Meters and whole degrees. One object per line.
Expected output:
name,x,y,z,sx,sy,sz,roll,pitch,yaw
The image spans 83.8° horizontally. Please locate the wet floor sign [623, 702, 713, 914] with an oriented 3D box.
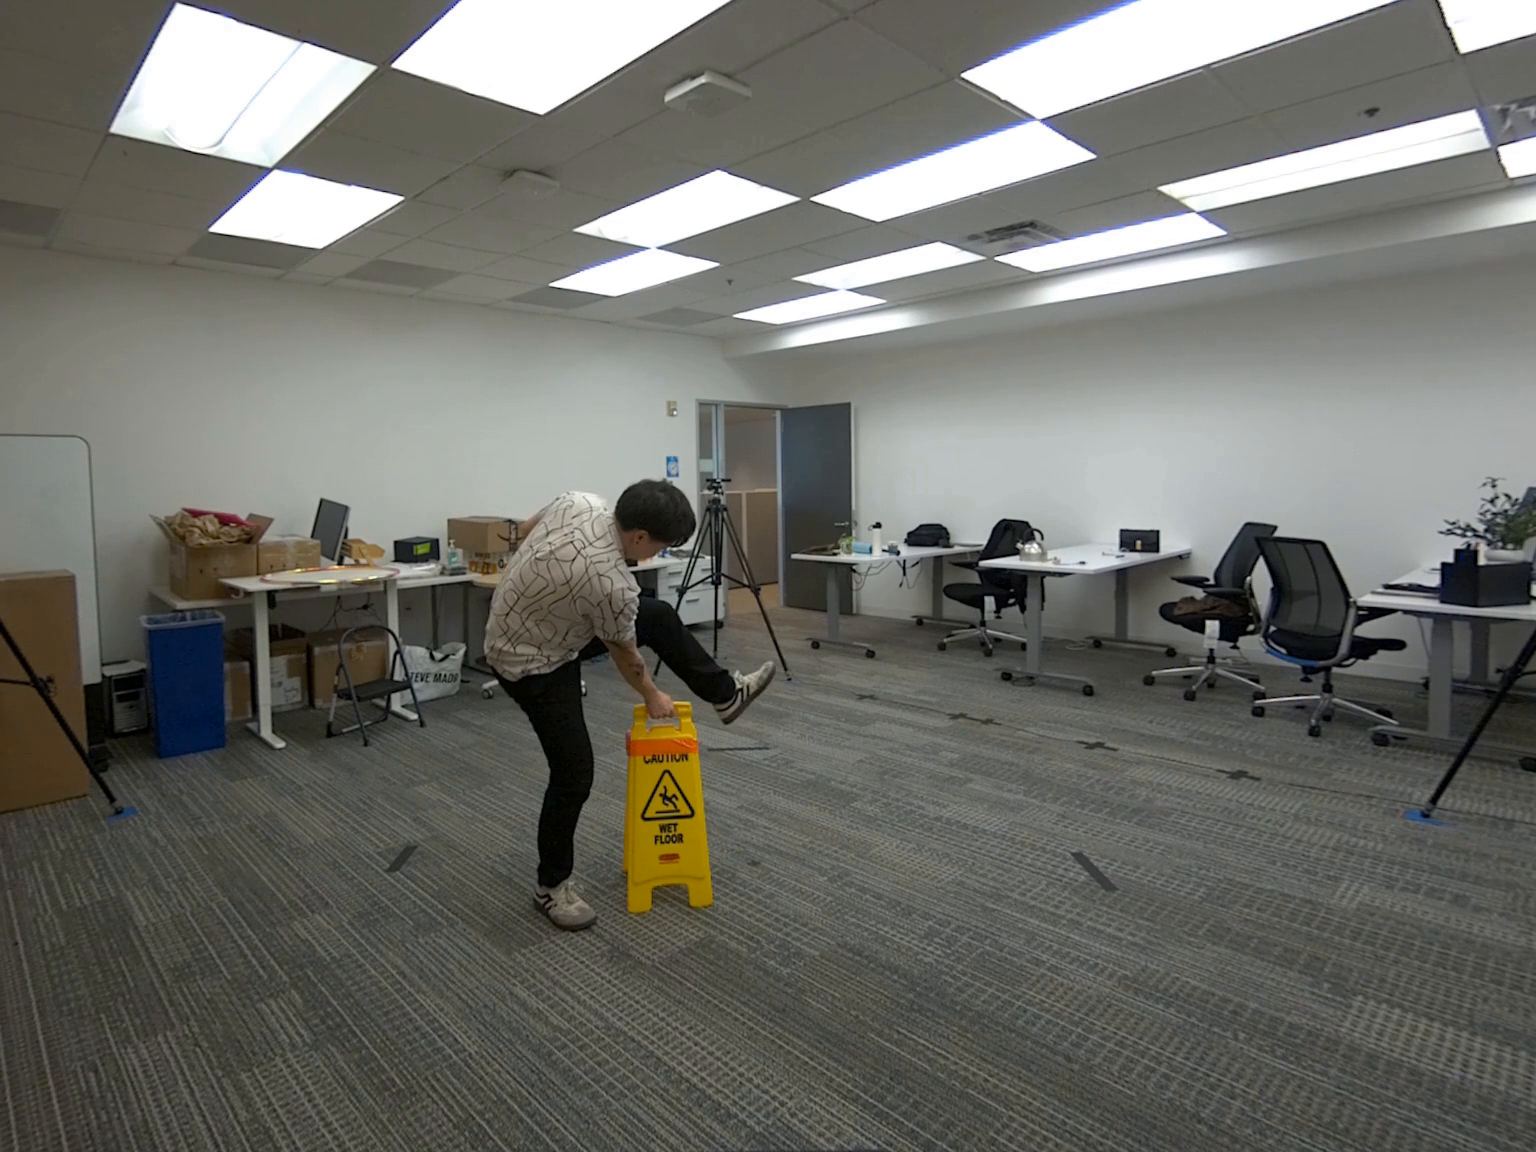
wet floor sign,-0.353,0.742,2.908,0.279,0.643,0.294,-3,5,-11
